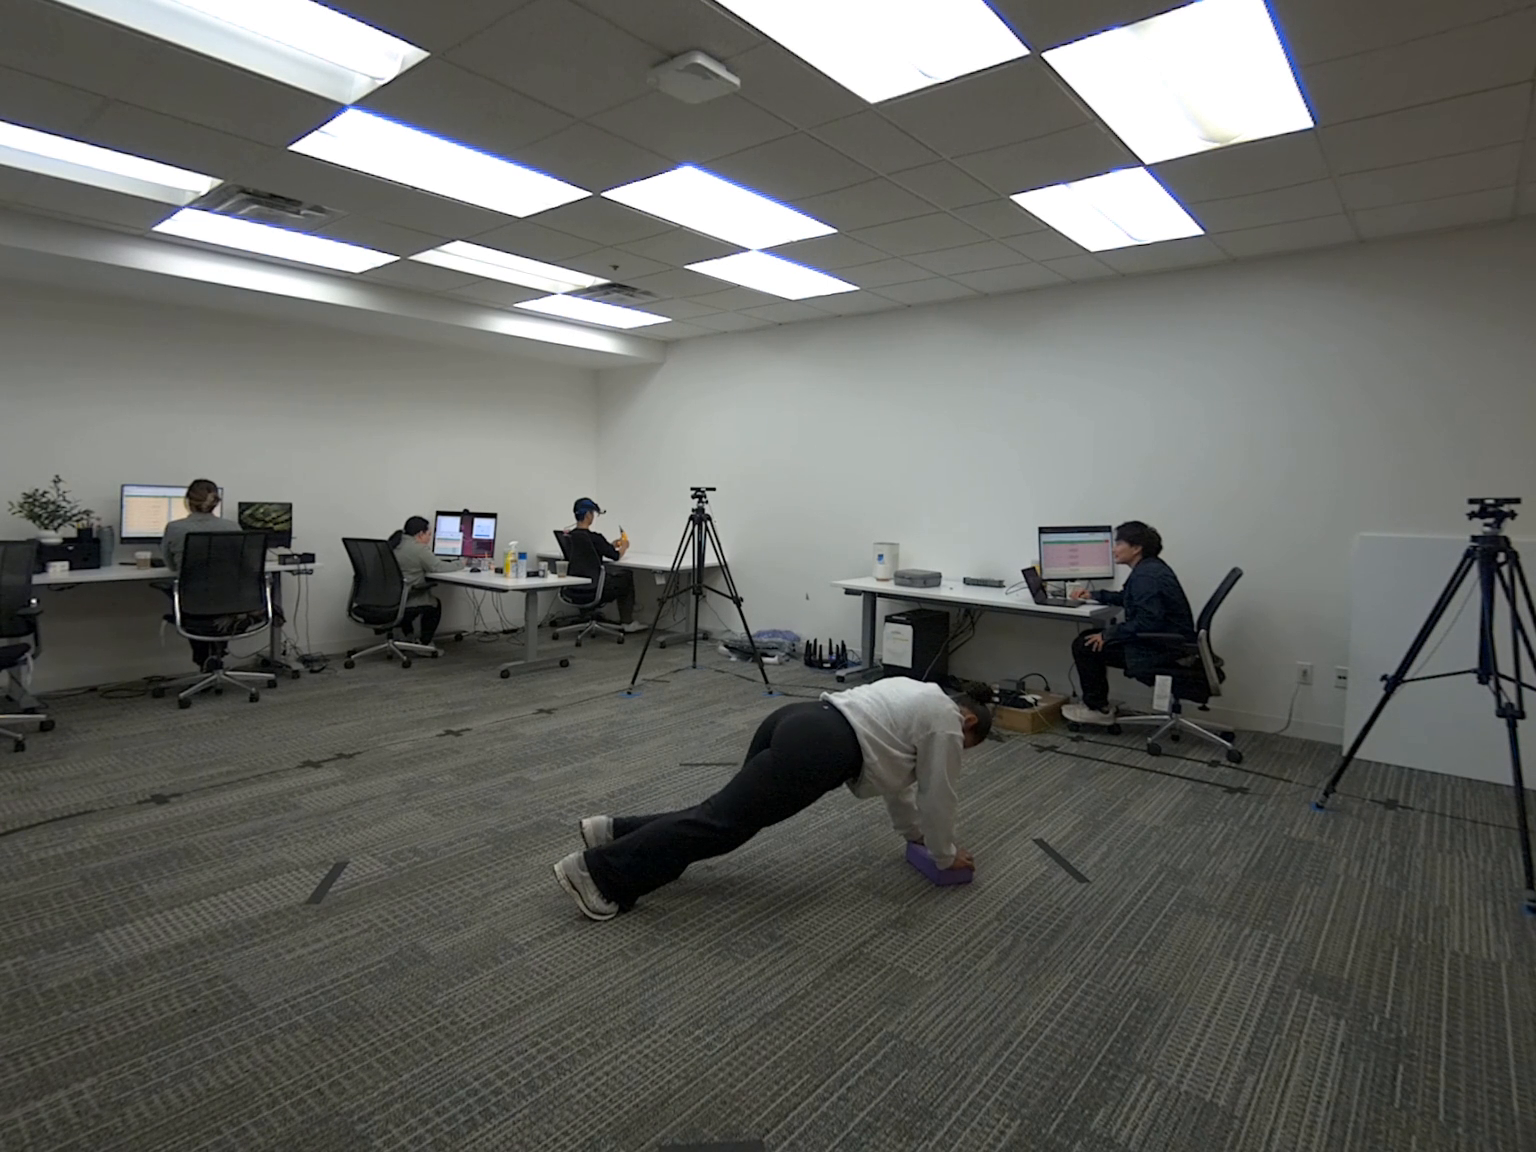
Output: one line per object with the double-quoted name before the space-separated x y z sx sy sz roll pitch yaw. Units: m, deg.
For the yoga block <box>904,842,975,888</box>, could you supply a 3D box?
"yoga block" 0.624 1.057 3.136 0.146 0.076 0.235 -1 6 -20
